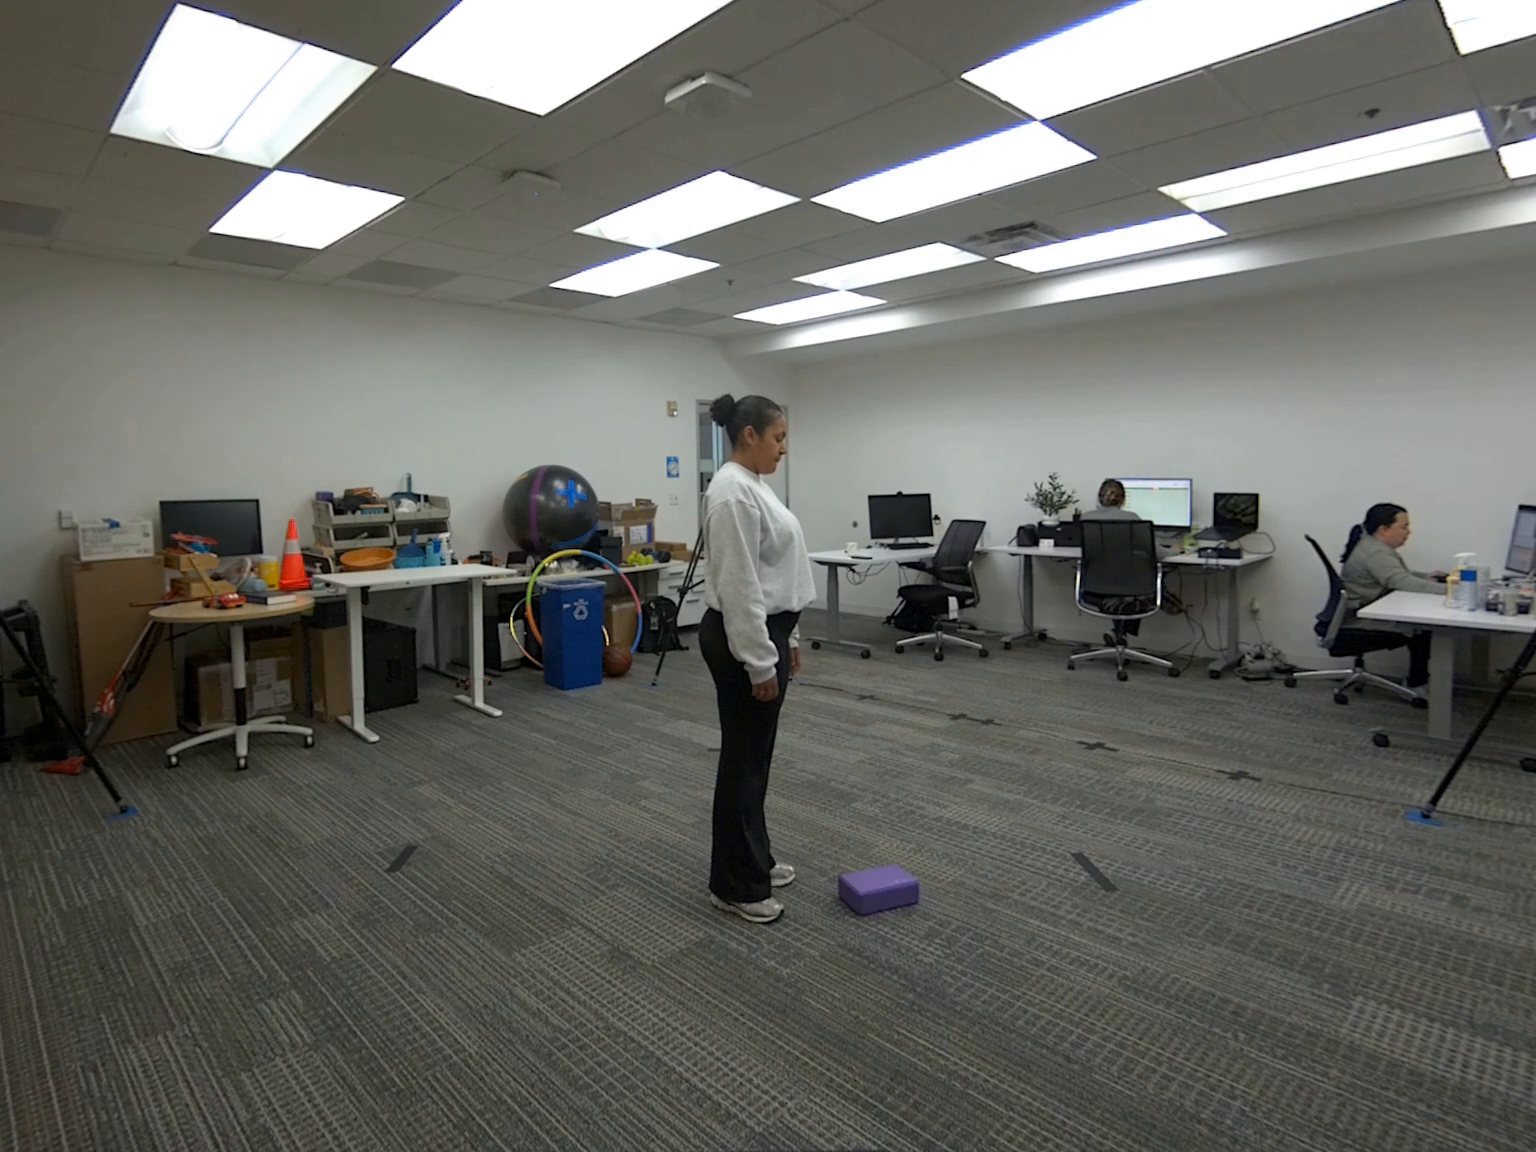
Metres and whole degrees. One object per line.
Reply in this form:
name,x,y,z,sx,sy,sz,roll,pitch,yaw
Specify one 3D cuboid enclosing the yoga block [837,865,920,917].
yoga block,0.364,1.024,2.814,0.225,0.076,0.152,-3,5,-23
